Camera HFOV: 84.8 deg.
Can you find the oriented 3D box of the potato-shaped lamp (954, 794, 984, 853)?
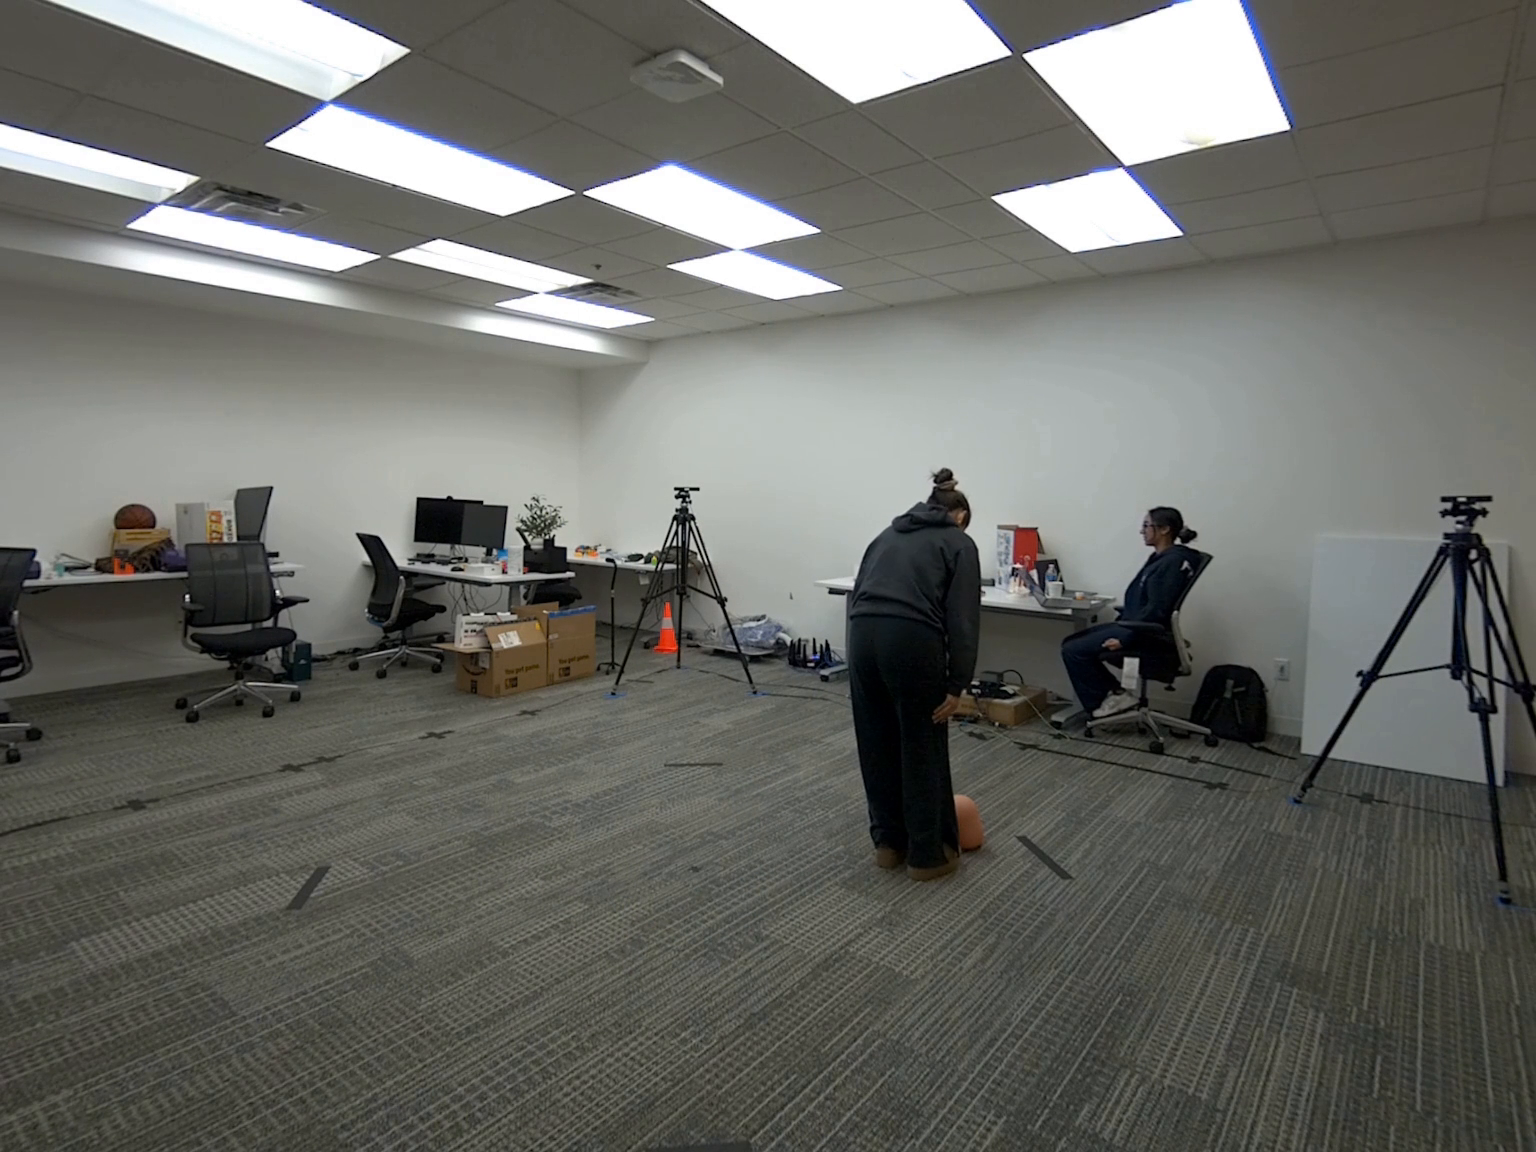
[{"bbox_3d":[0.772,0.960,3.371,0.167,0.196,0.170,-10,11,-41],"label":"potato-shaped lamp"}]
